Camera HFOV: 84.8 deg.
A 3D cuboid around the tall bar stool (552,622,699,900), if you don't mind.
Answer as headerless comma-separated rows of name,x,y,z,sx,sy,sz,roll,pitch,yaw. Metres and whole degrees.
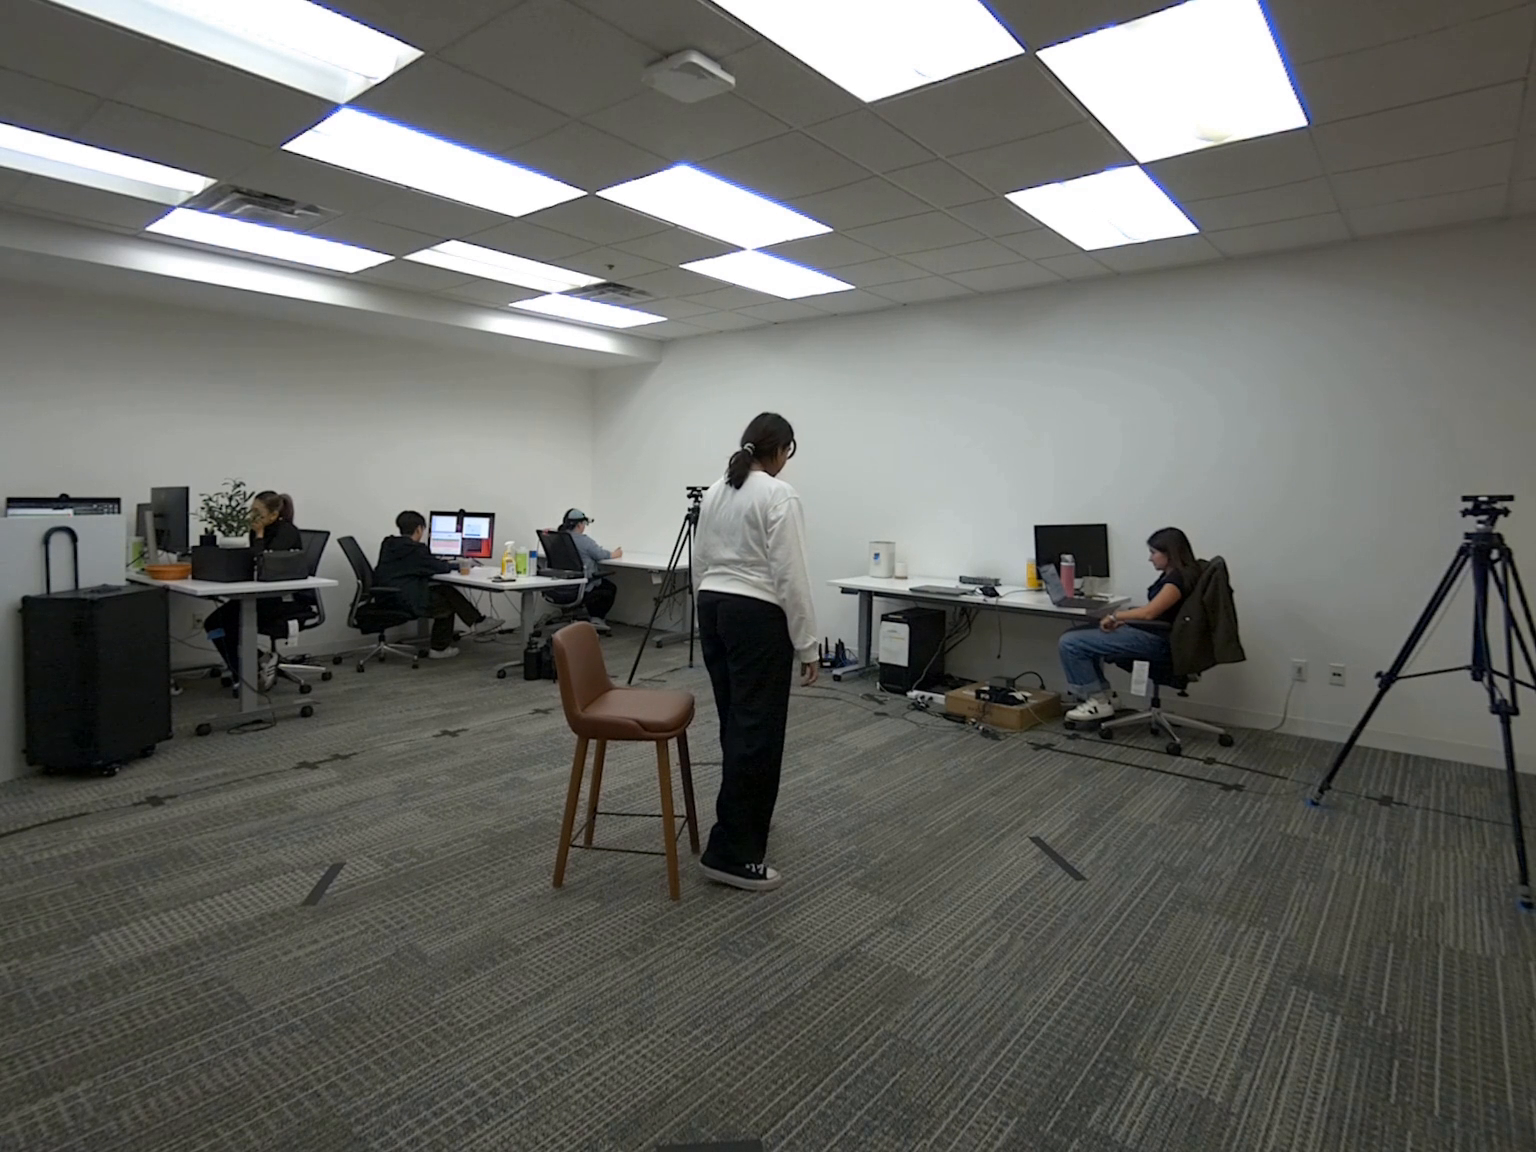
tall bar stool,-0.506,0.629,3.069,0.472,0.888,0.453,-1,3,8
